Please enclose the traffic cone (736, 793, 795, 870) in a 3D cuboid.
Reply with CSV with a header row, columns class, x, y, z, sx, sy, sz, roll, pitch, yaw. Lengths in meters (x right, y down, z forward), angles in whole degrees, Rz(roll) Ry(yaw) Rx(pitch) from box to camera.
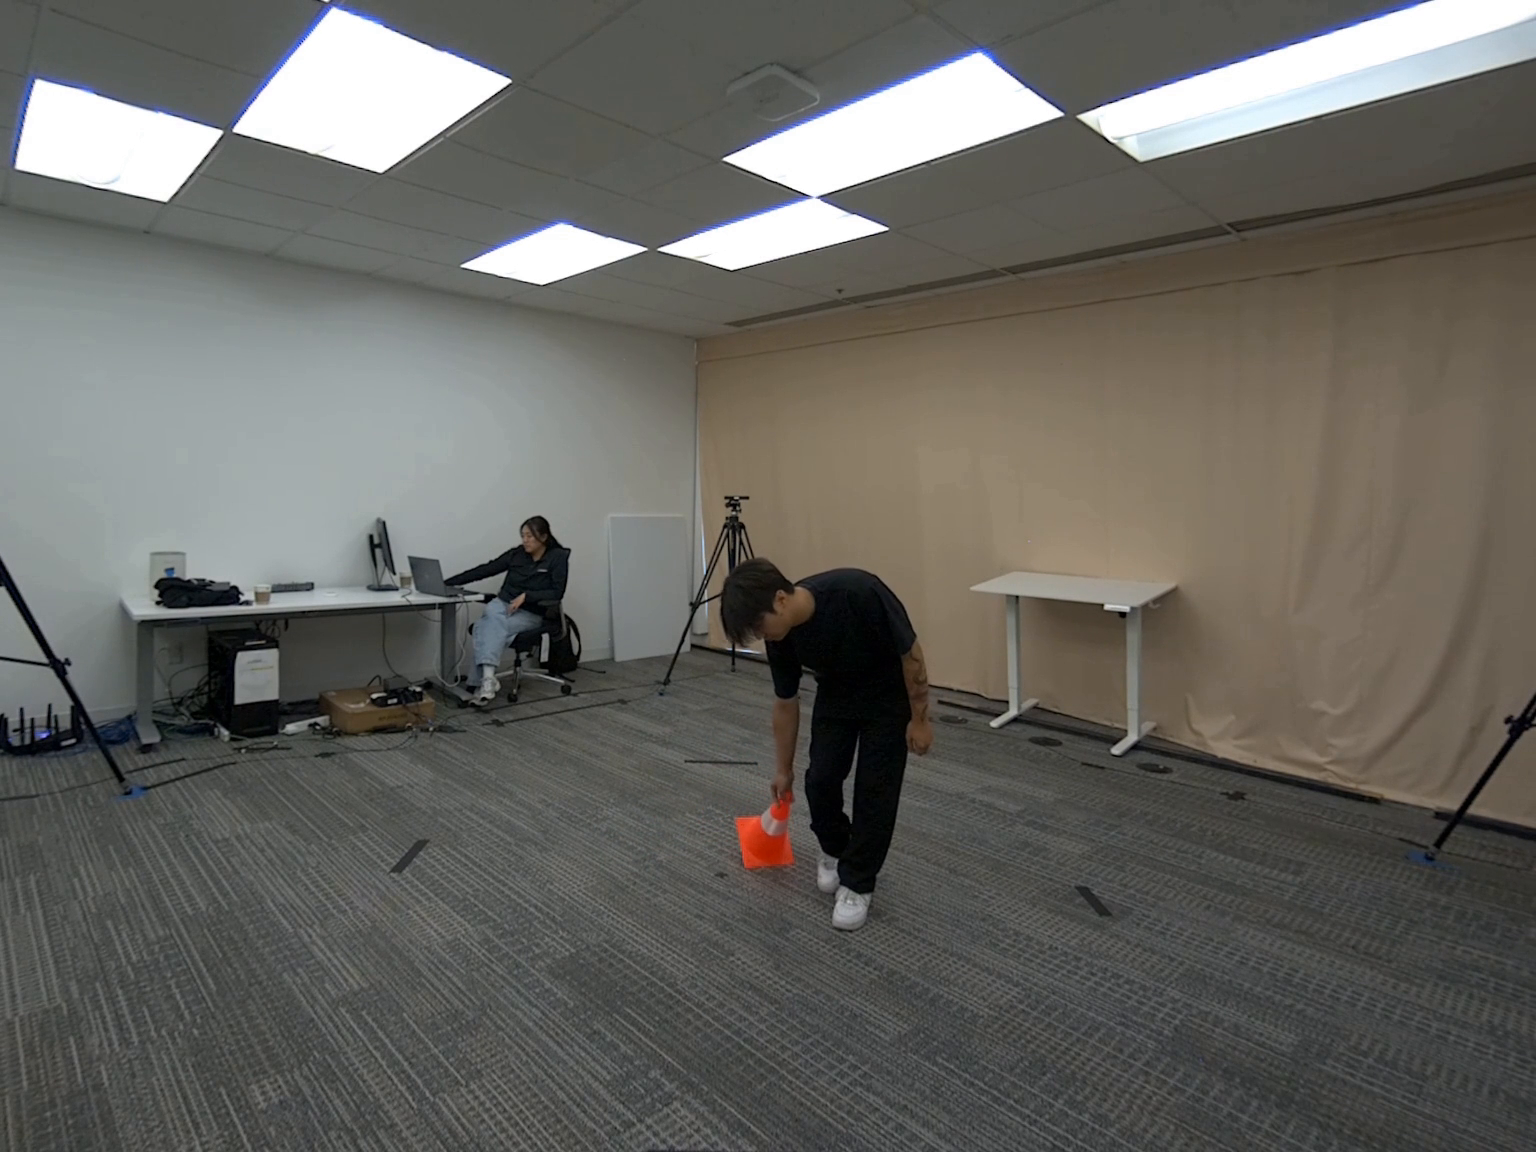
class,x,y,z,sx,sy,sz,roll,pitch,yaw
traffic cone,0.022,0.906,3.124,0.201,0.210,0.378,3,-42,-14
